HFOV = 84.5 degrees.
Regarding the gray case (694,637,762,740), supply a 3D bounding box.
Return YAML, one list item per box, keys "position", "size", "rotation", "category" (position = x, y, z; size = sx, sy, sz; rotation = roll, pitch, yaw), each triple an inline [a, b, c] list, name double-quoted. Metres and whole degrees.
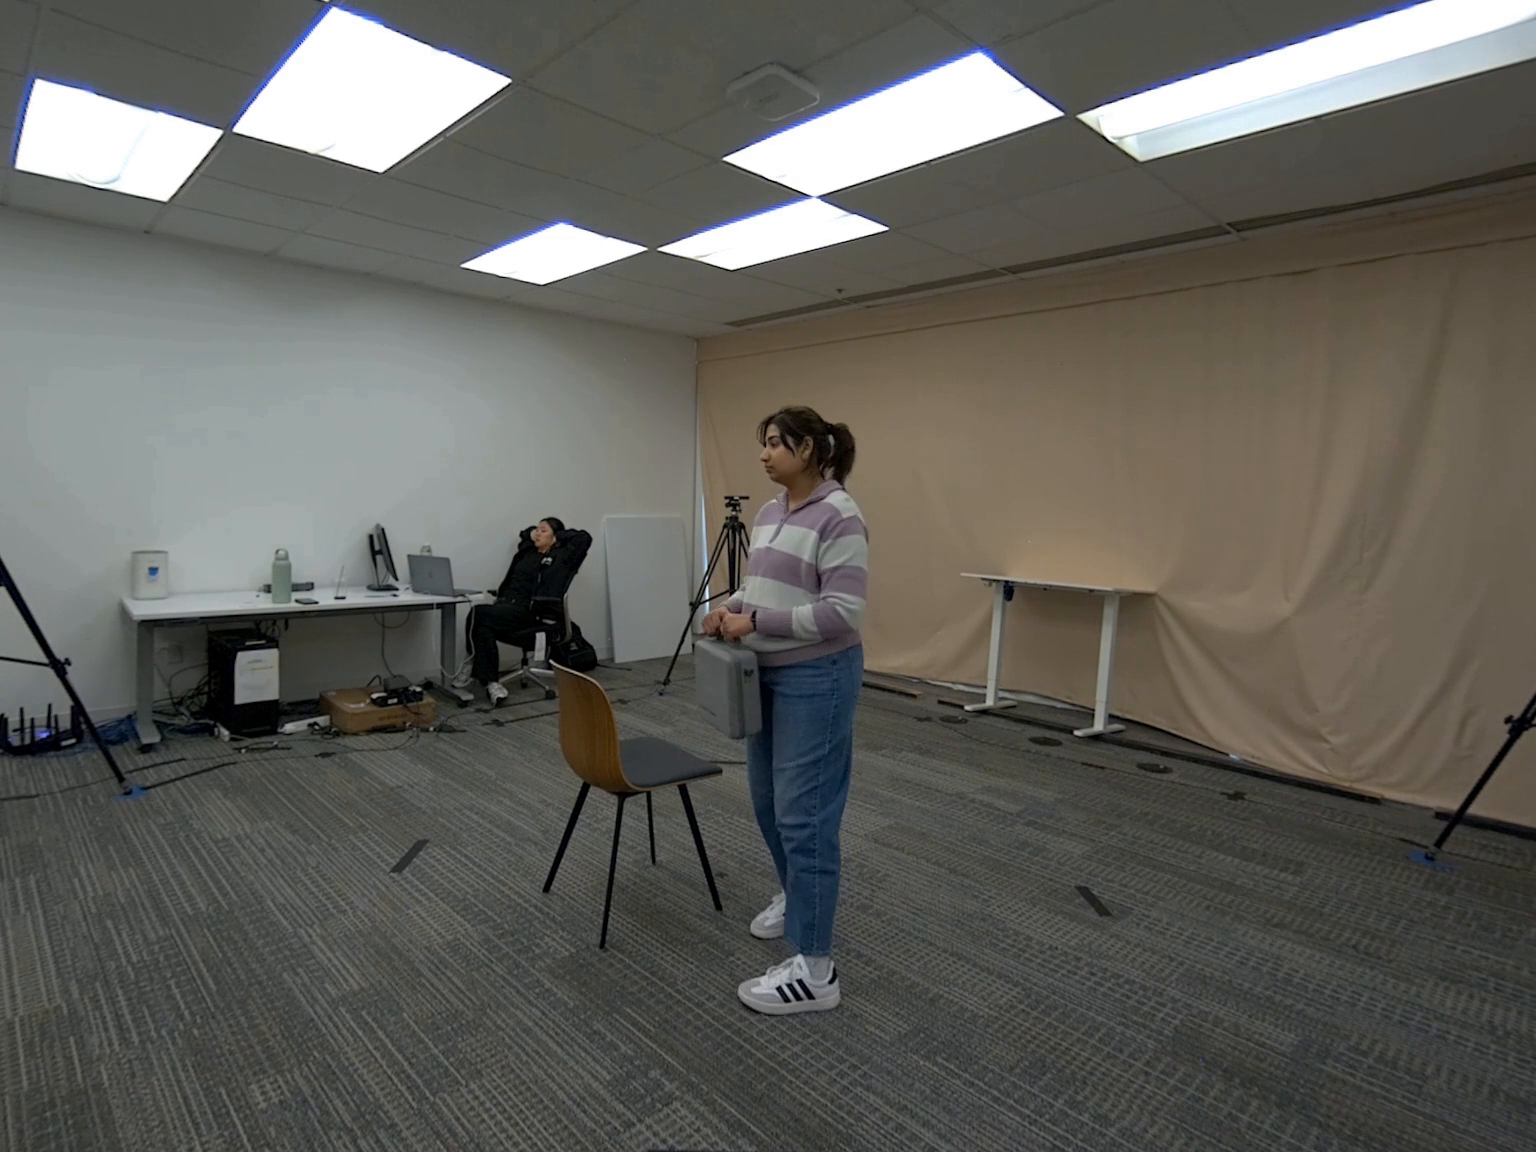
- position: [-0.122, 0.318, 2.479]
  size: [0.103, 0.258, 0.263]
  rotation: [-7, 11, -24]
  category: "gray case"
